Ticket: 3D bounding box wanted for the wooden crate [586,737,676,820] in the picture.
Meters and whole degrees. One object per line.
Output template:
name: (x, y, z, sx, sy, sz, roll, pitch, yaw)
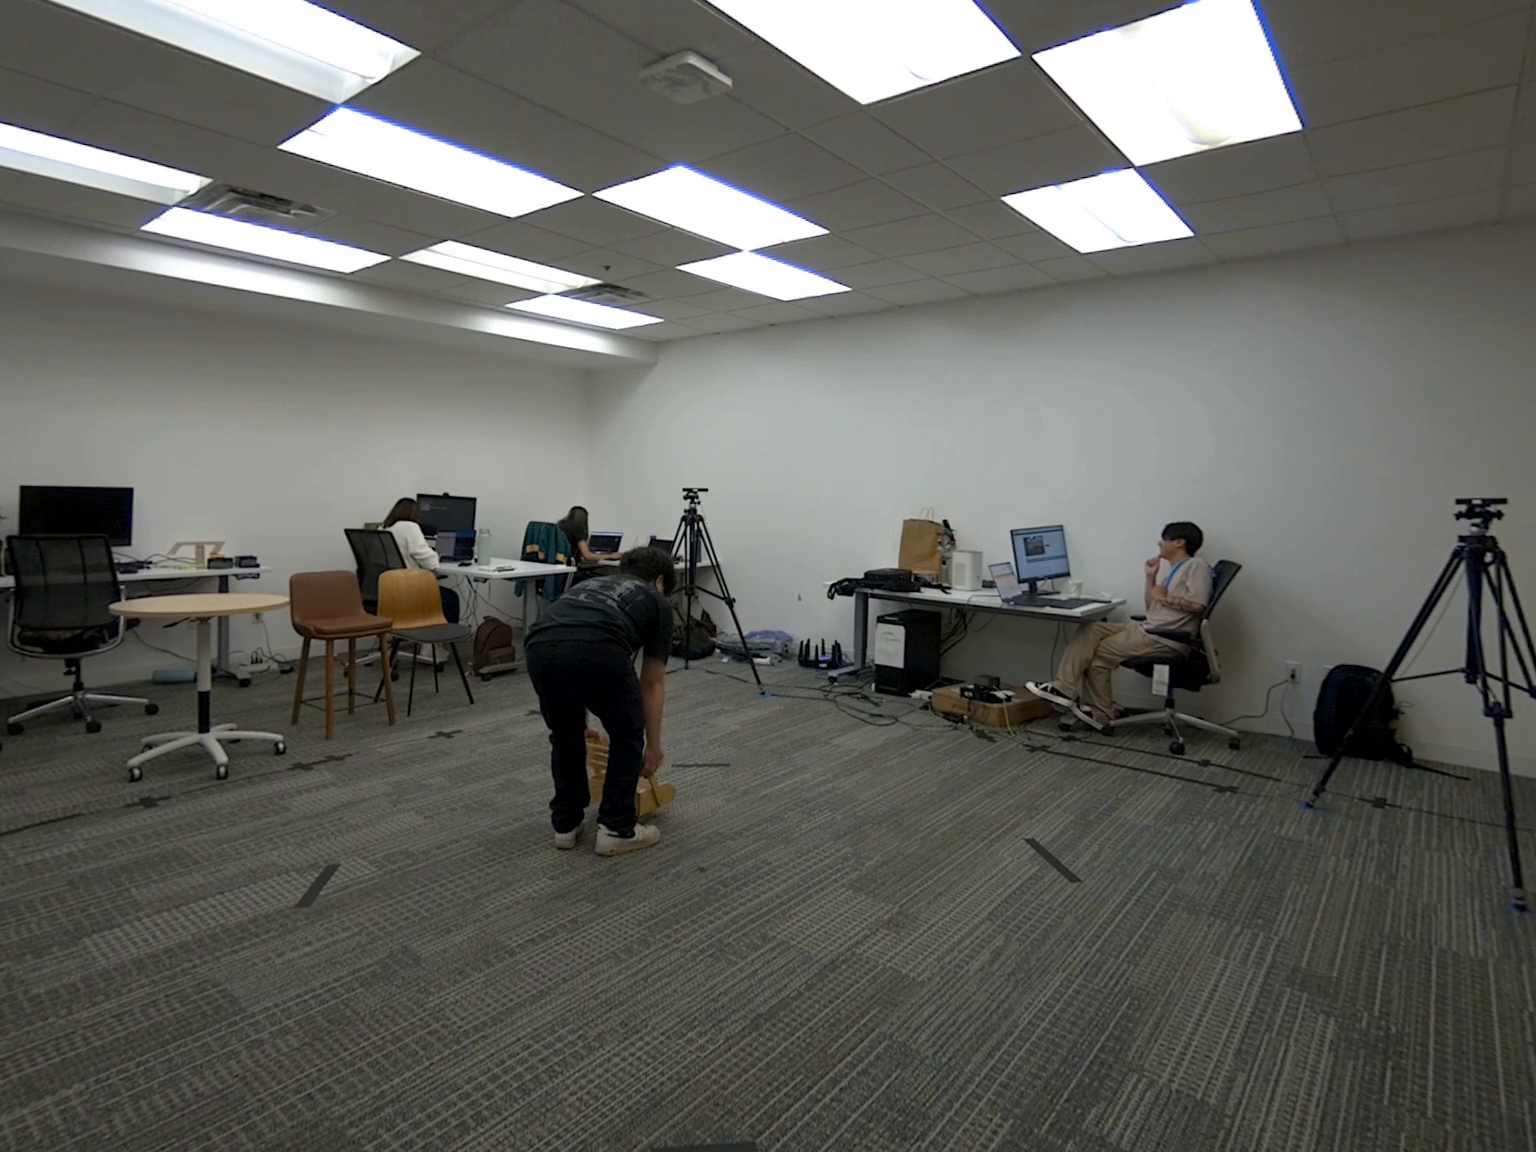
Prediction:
wooden crate: (-0.604, 0.816, 3.602, 0.334, 0.272, 0.294, 4, 5, 31)
